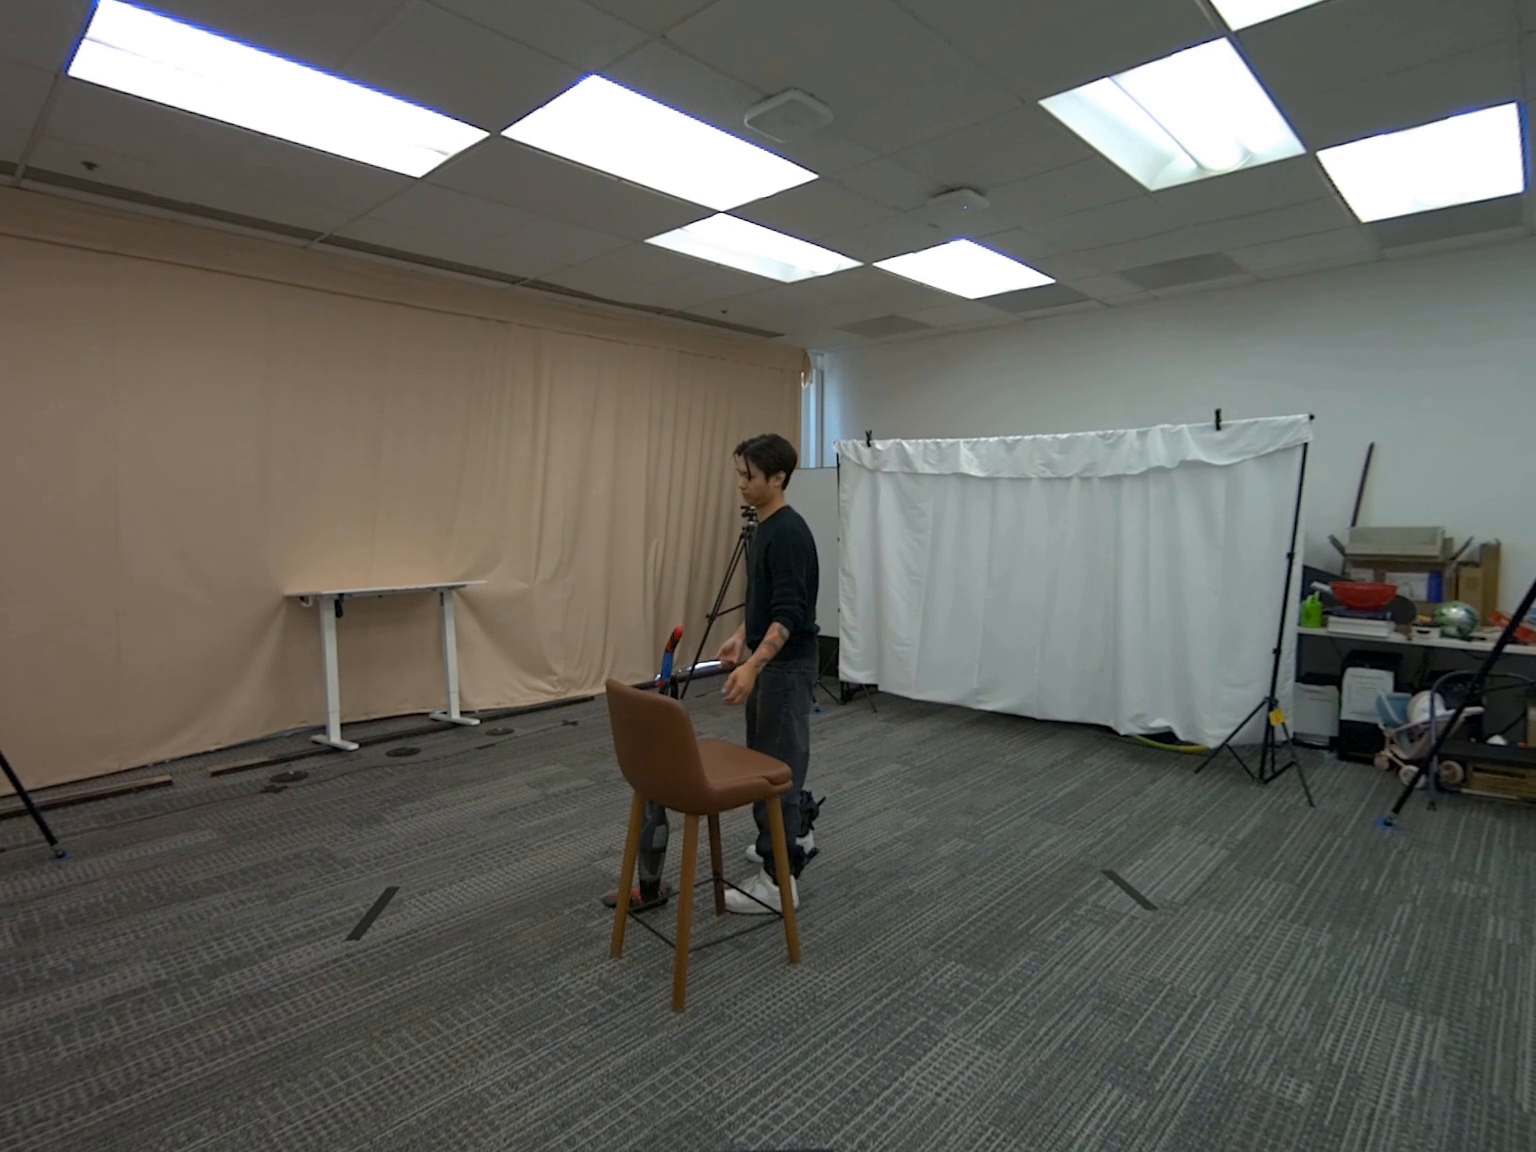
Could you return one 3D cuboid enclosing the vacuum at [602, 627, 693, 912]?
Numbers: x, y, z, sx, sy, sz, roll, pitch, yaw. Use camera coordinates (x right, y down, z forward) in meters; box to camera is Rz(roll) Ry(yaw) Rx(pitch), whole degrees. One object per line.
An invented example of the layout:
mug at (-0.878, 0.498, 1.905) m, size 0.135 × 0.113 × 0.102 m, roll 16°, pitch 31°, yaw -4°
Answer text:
vacuum at (-0.357, 0.661, 2.802) m, size 0.245 × 1.041 × 0.149 m, roll -2°, pitch 20°, yaw -35°
